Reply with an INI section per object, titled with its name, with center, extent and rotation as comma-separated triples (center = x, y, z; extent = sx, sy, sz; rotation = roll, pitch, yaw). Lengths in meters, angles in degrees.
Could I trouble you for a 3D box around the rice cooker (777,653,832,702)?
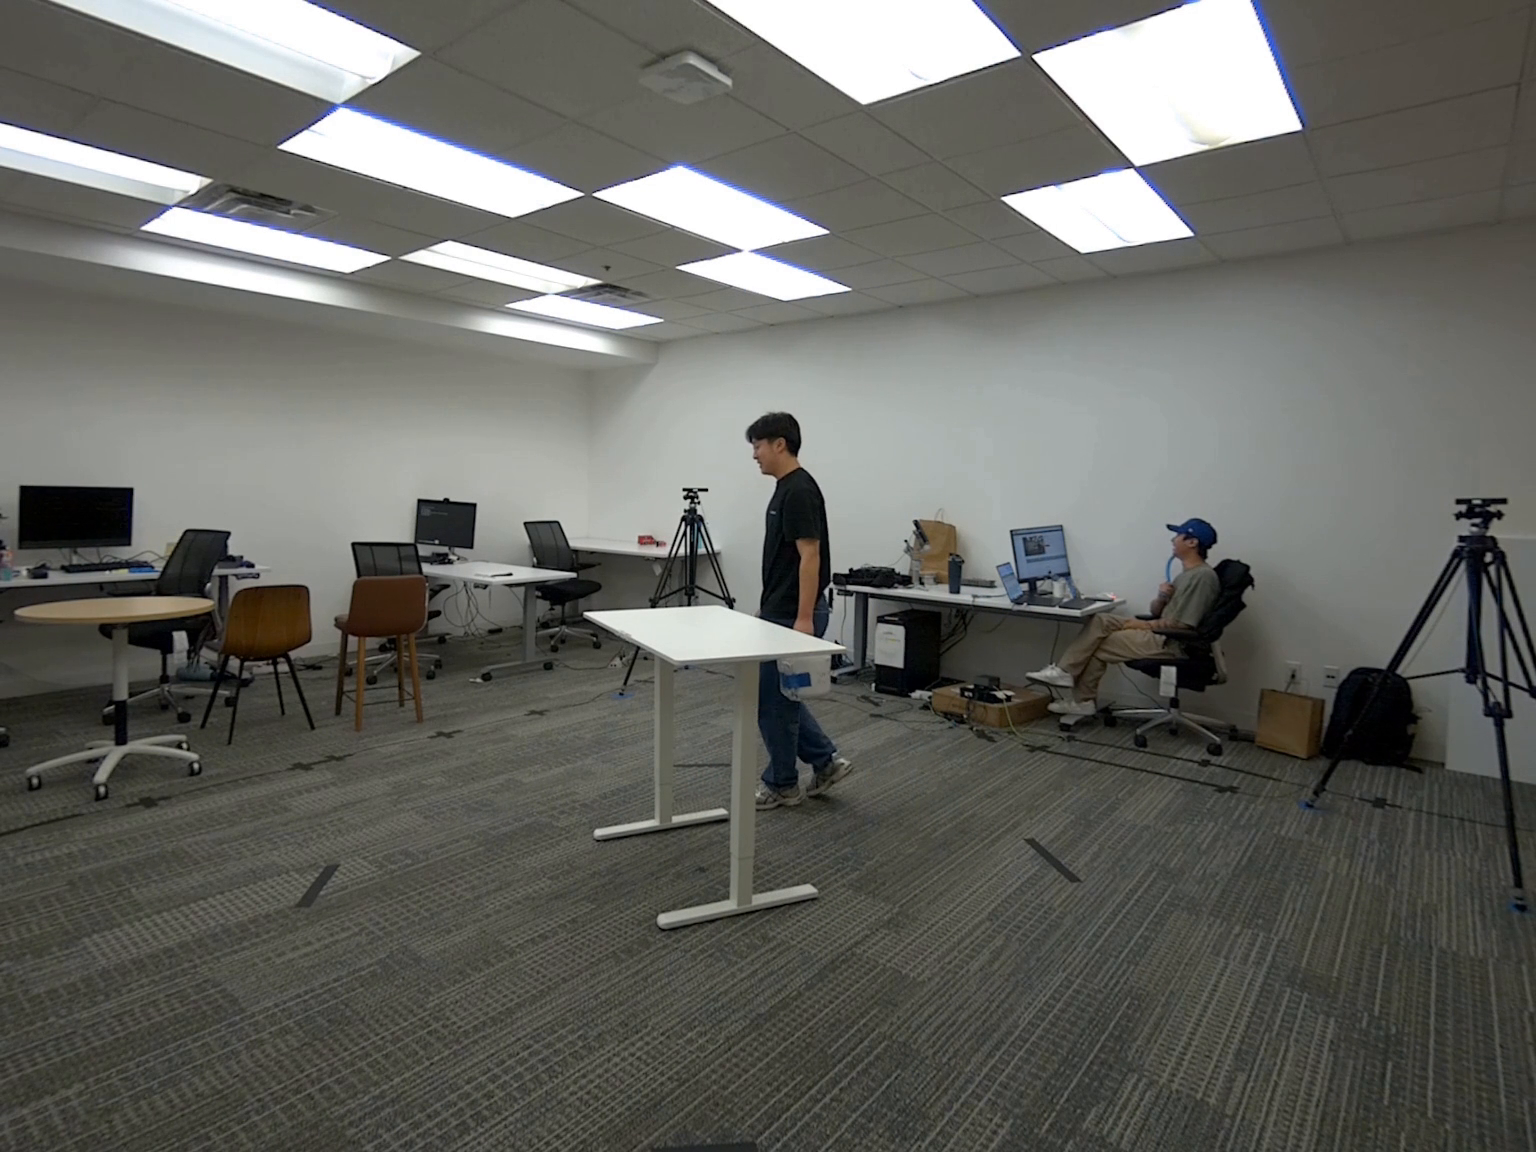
[rice cooker]
center = 0.142, 0.373, 3.483
extent = 0.218, 0.232, 0.220
rotation = -1, 2, -11
